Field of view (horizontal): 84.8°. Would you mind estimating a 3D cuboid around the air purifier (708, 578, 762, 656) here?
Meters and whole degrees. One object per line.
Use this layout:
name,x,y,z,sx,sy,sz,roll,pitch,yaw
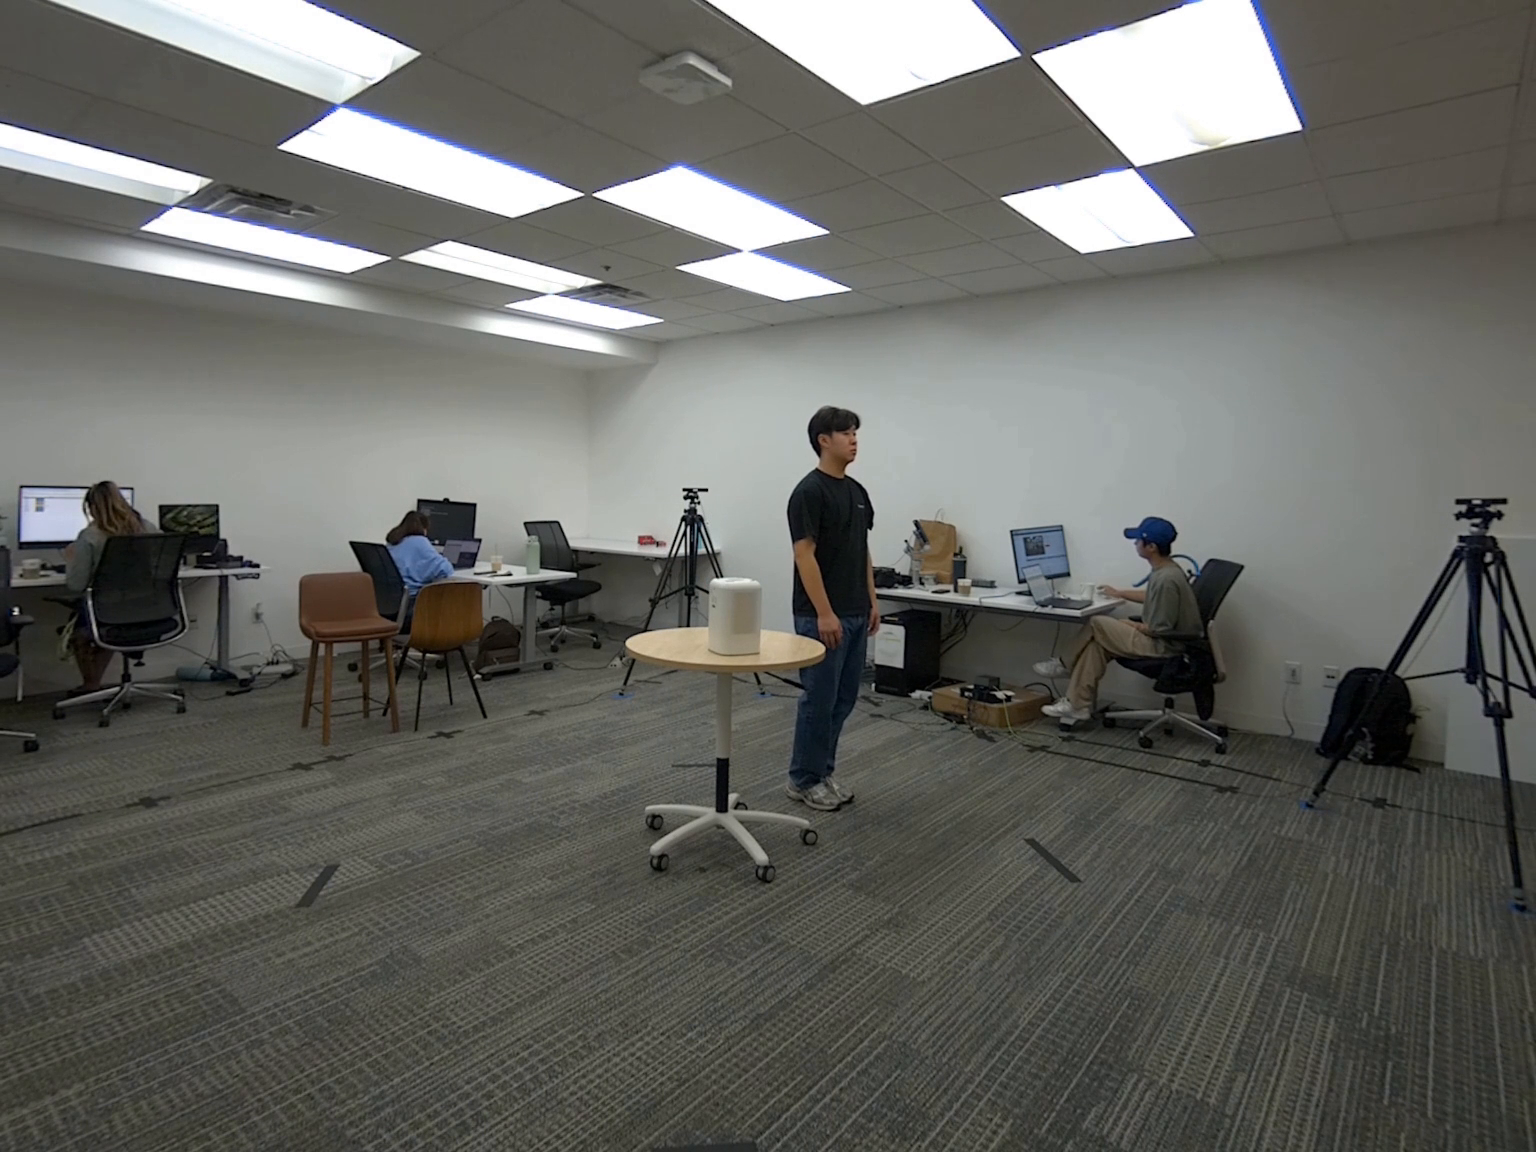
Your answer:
air purifier,-0.134,0.142,3.133,0.167,0.265,0.175,1,4,-24
